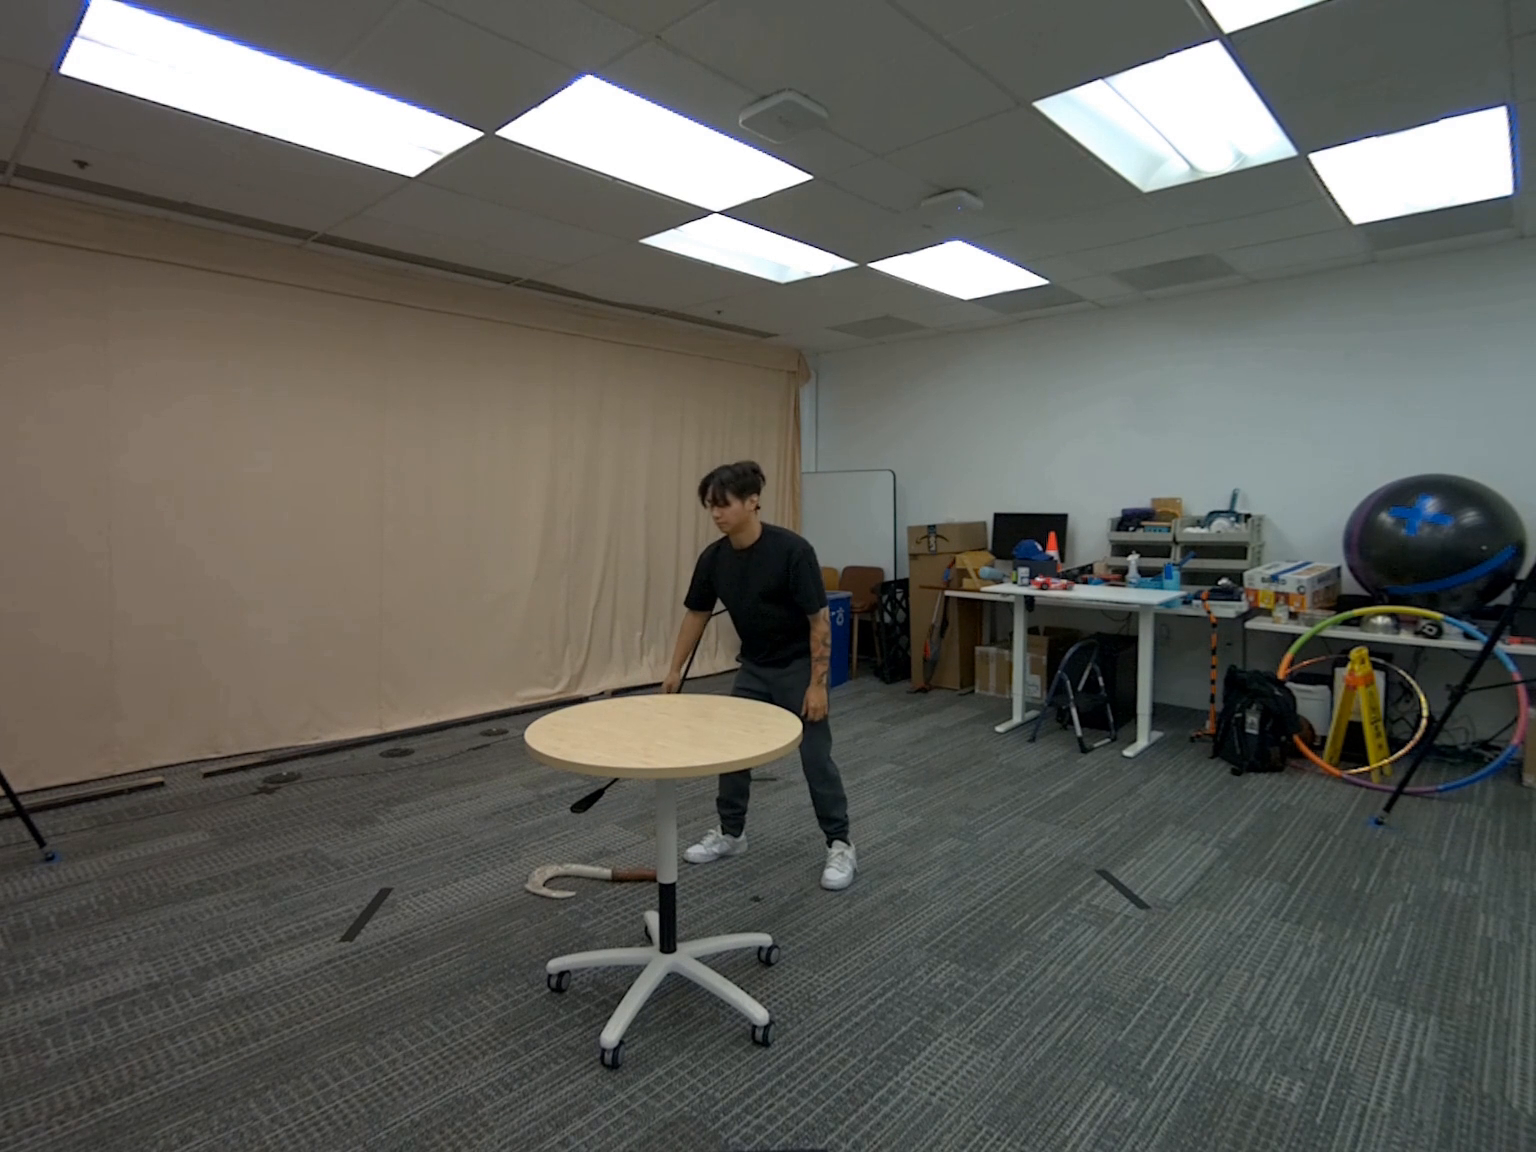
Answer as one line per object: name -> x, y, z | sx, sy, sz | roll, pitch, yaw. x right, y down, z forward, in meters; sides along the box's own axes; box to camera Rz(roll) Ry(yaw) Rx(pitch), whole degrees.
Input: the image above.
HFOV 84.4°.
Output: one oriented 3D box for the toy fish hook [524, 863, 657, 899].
toy fish hook -> -0.636, 1.128, 3.099 | 0.508, 0.048, 0.226 | -1, 12, 2
